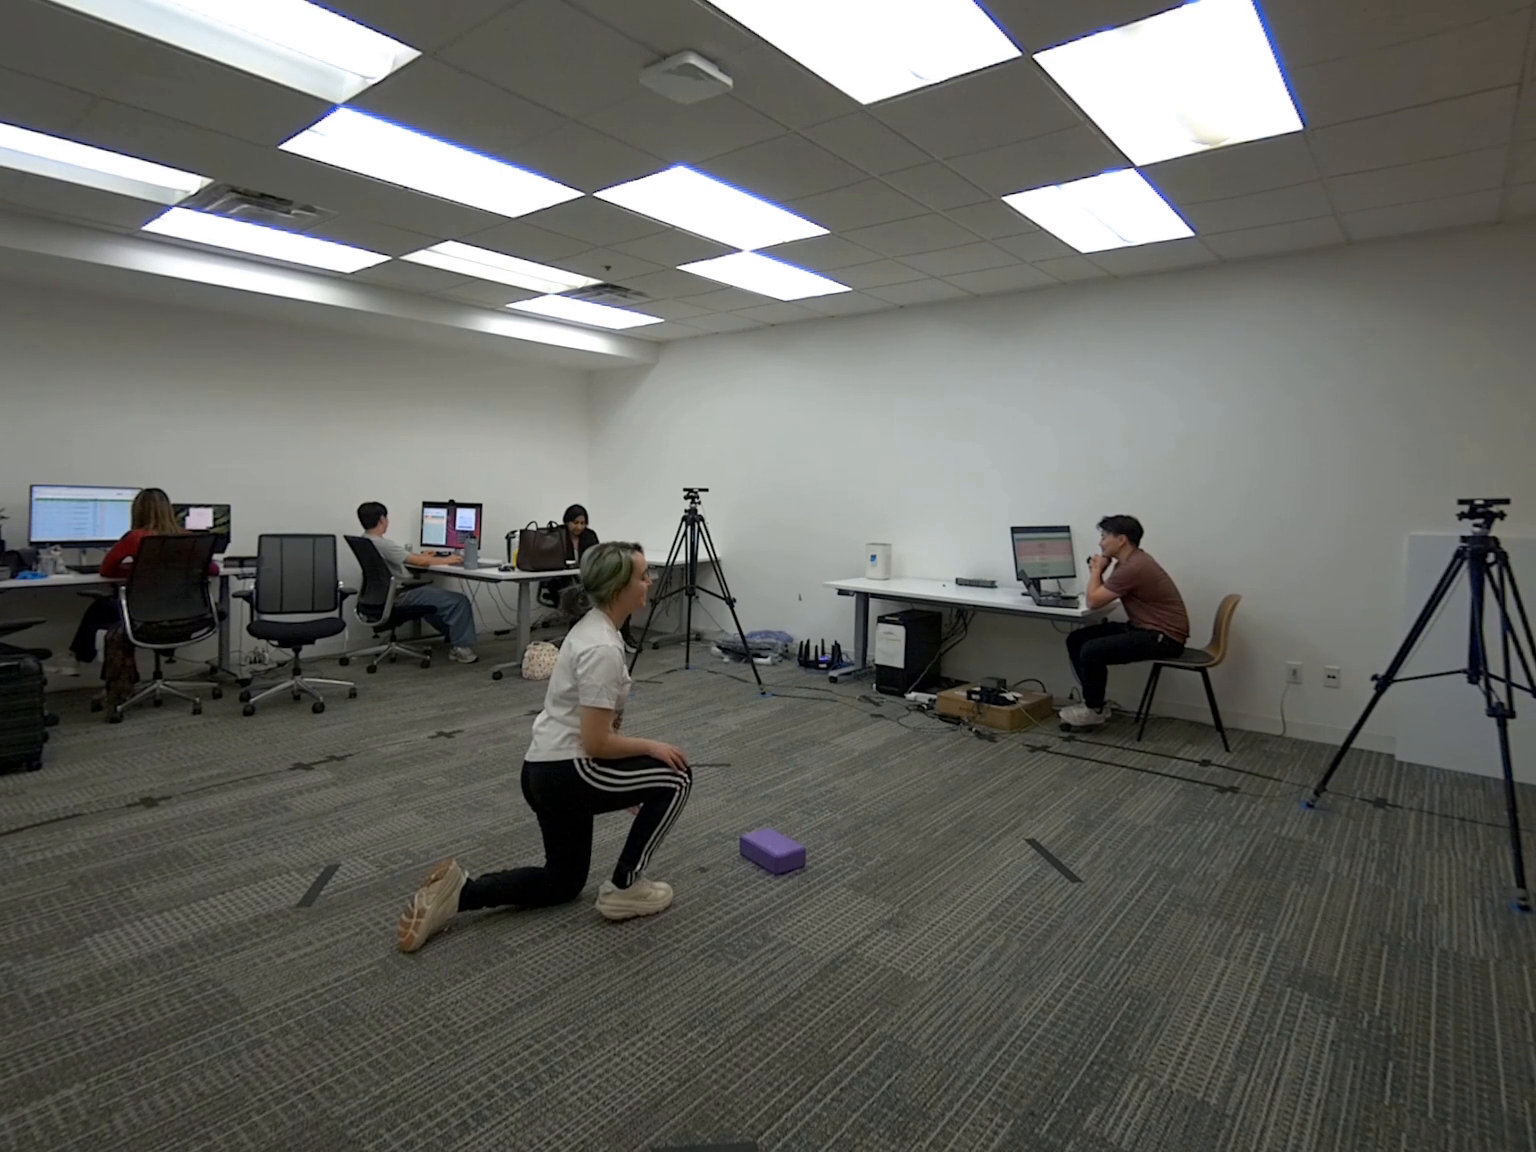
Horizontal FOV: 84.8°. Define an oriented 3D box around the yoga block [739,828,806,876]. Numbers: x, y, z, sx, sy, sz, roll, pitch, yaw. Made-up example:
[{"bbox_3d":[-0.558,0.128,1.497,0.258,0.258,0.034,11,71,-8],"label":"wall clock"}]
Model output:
[{"bbox_3d":[0.010,1.025,3.193,0.144,0.076,0.237,-2,5,-37],"label":"yoga block"}]
